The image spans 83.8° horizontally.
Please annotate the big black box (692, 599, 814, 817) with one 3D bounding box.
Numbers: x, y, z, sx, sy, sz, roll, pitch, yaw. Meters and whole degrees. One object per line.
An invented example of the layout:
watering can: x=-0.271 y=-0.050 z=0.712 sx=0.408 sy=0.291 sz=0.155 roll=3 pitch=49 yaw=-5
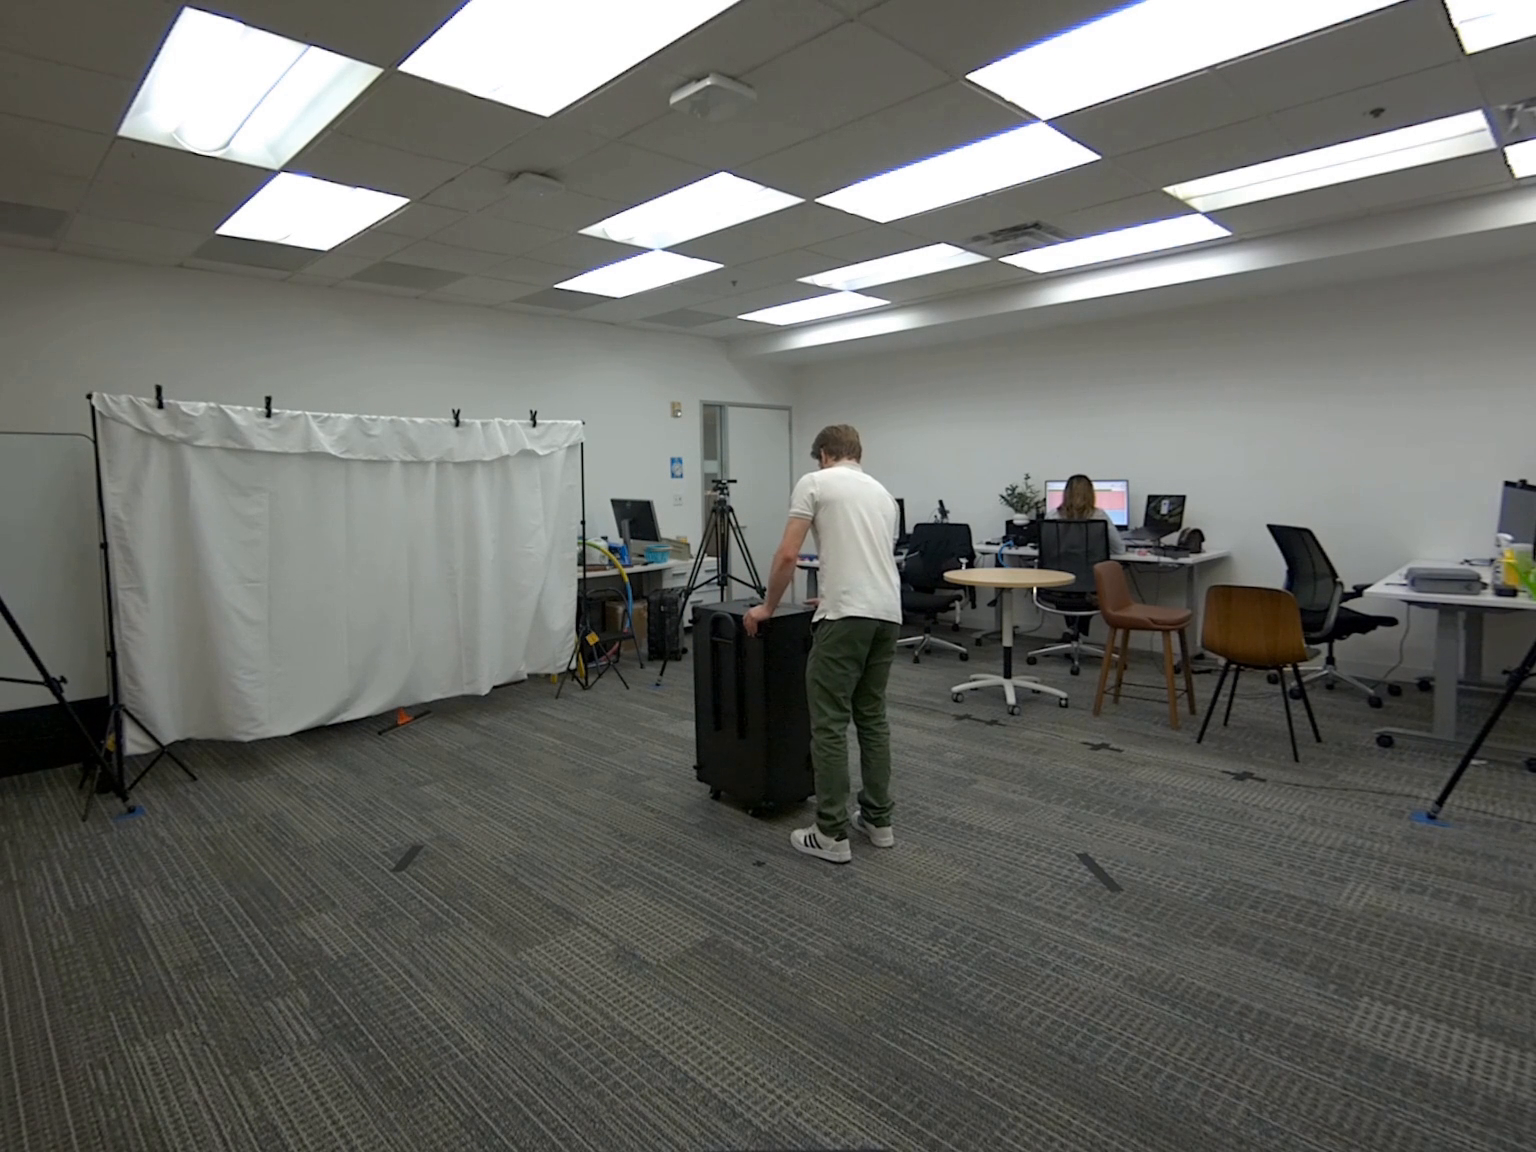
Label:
big black box: x=-0.049 y=0.561 z=3.696 sx=0.386 sy=0.858 sz=0.537 roll=-5 pitch=6 yaw=-40
